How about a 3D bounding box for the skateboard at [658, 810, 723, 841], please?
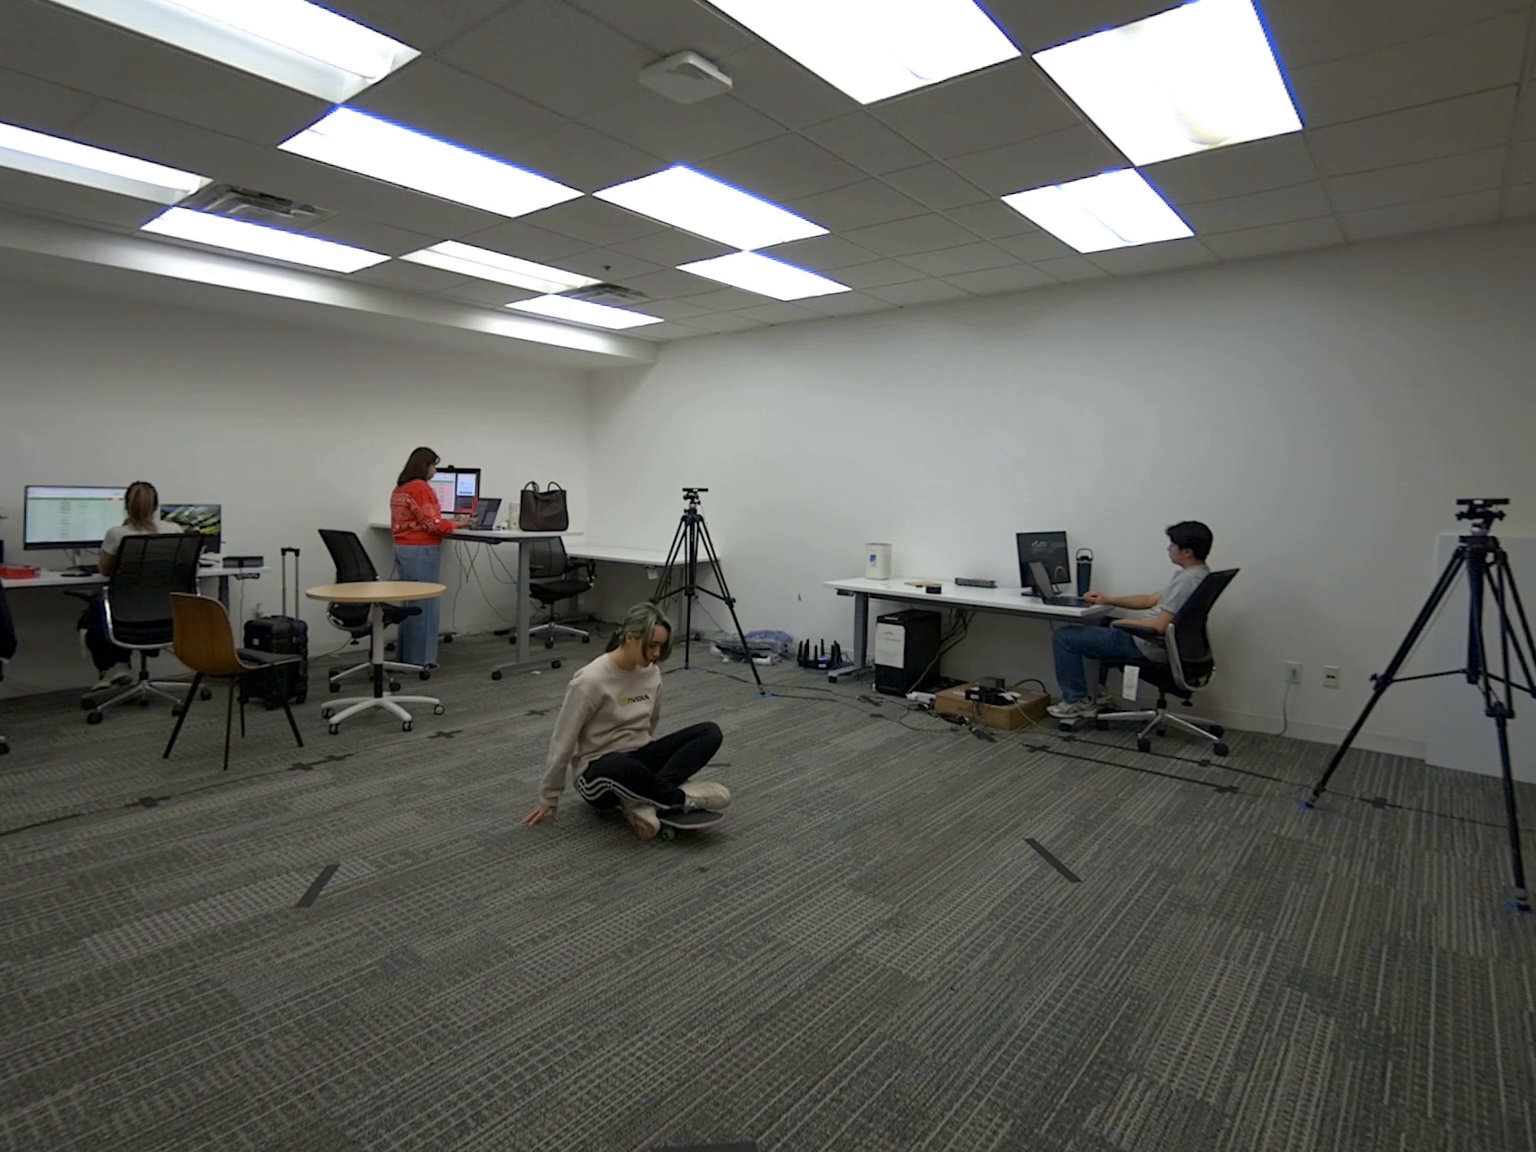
[{"bbox_3d":[-0.532,0.981,3.535,0.811,0.110,0.187,4,4,37],"label":"skateboard"}]
